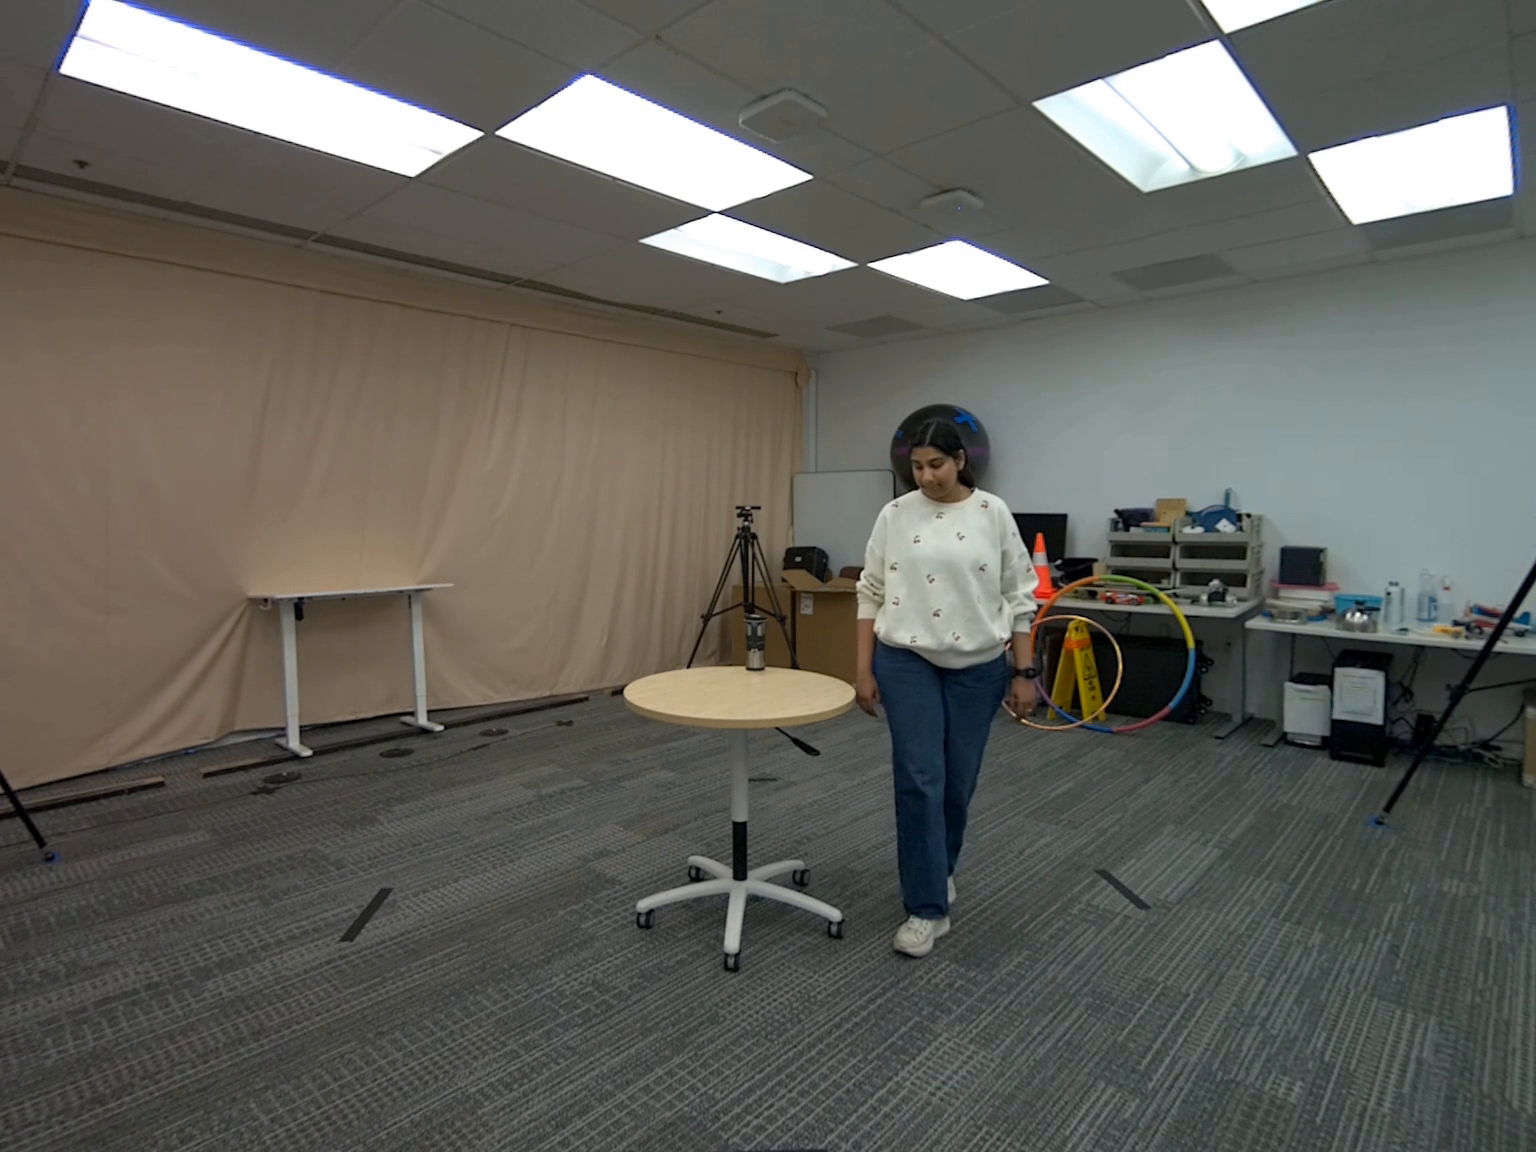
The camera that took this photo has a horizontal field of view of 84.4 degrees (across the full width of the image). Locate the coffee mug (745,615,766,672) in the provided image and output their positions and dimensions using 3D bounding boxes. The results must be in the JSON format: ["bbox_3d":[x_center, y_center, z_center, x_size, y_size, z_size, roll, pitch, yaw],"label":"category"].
[{"bbox_3d":[-0.052,0.252,3.101,0.090,0.202,0.118,8,4,29],"label":"coffee mug"}]
